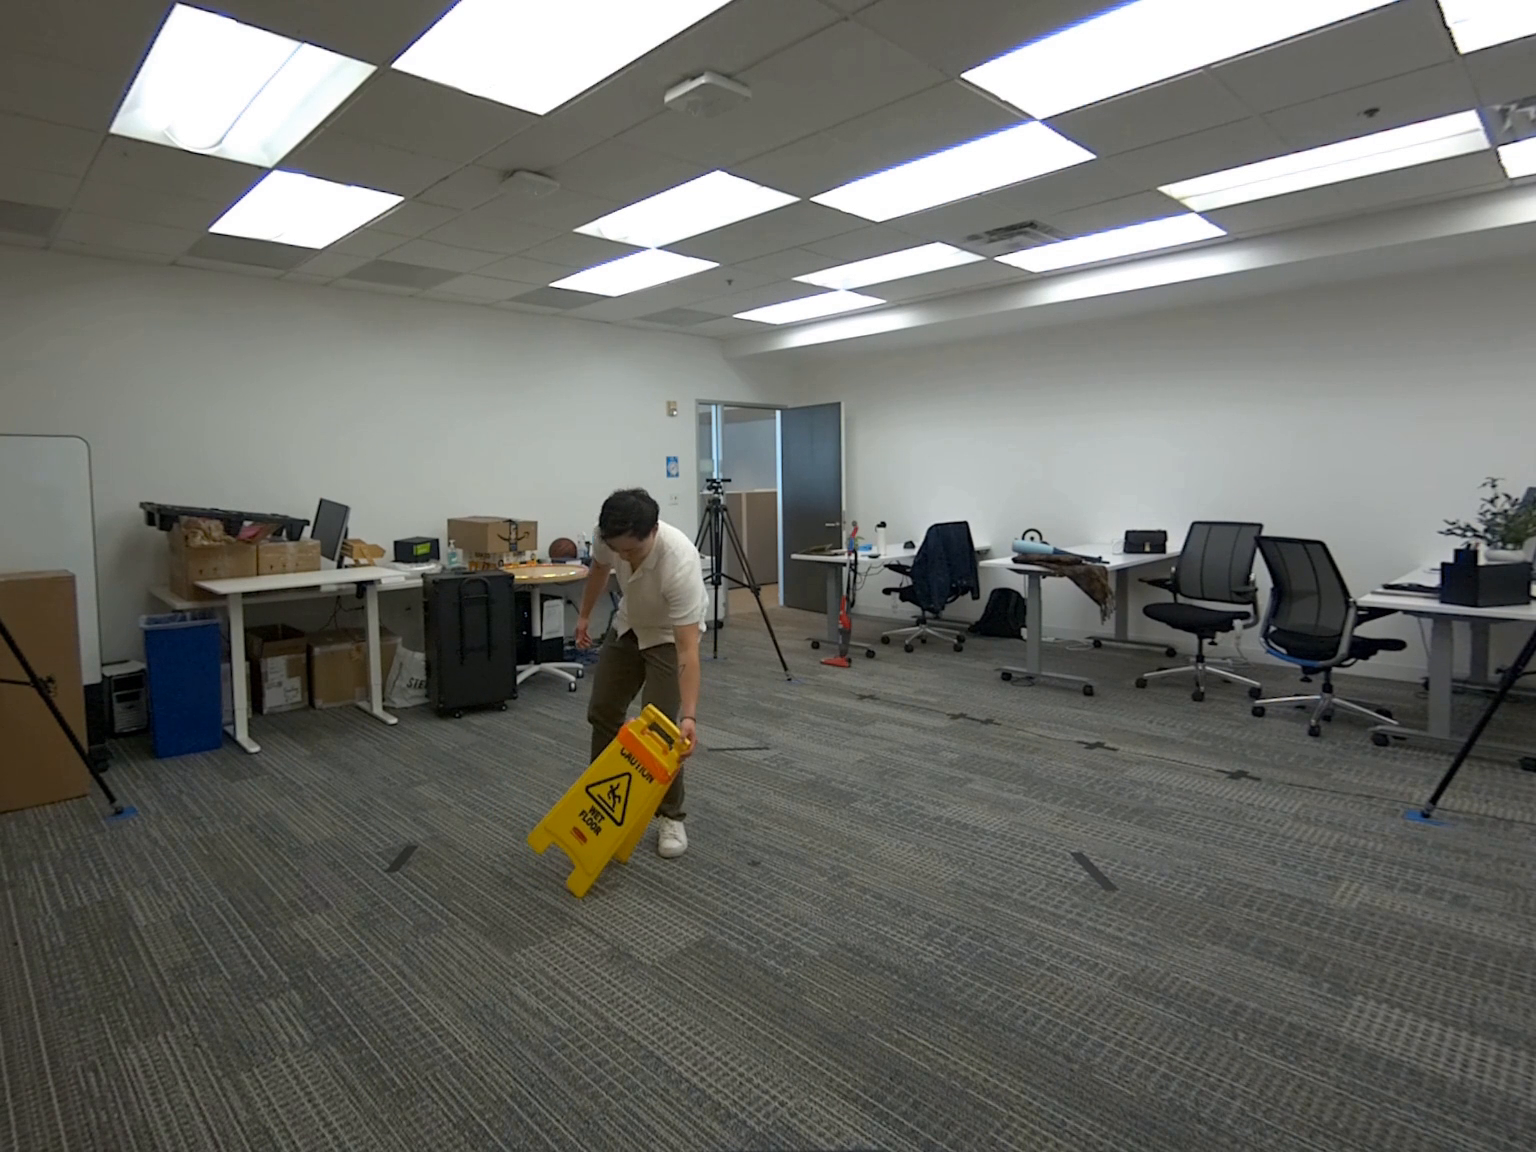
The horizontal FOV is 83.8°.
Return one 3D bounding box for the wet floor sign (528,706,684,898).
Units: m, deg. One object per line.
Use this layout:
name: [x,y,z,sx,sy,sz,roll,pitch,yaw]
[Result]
wet floor sign: [-0.507,0.738,2.947,0.288,0.643,0.285,39,18,15]
